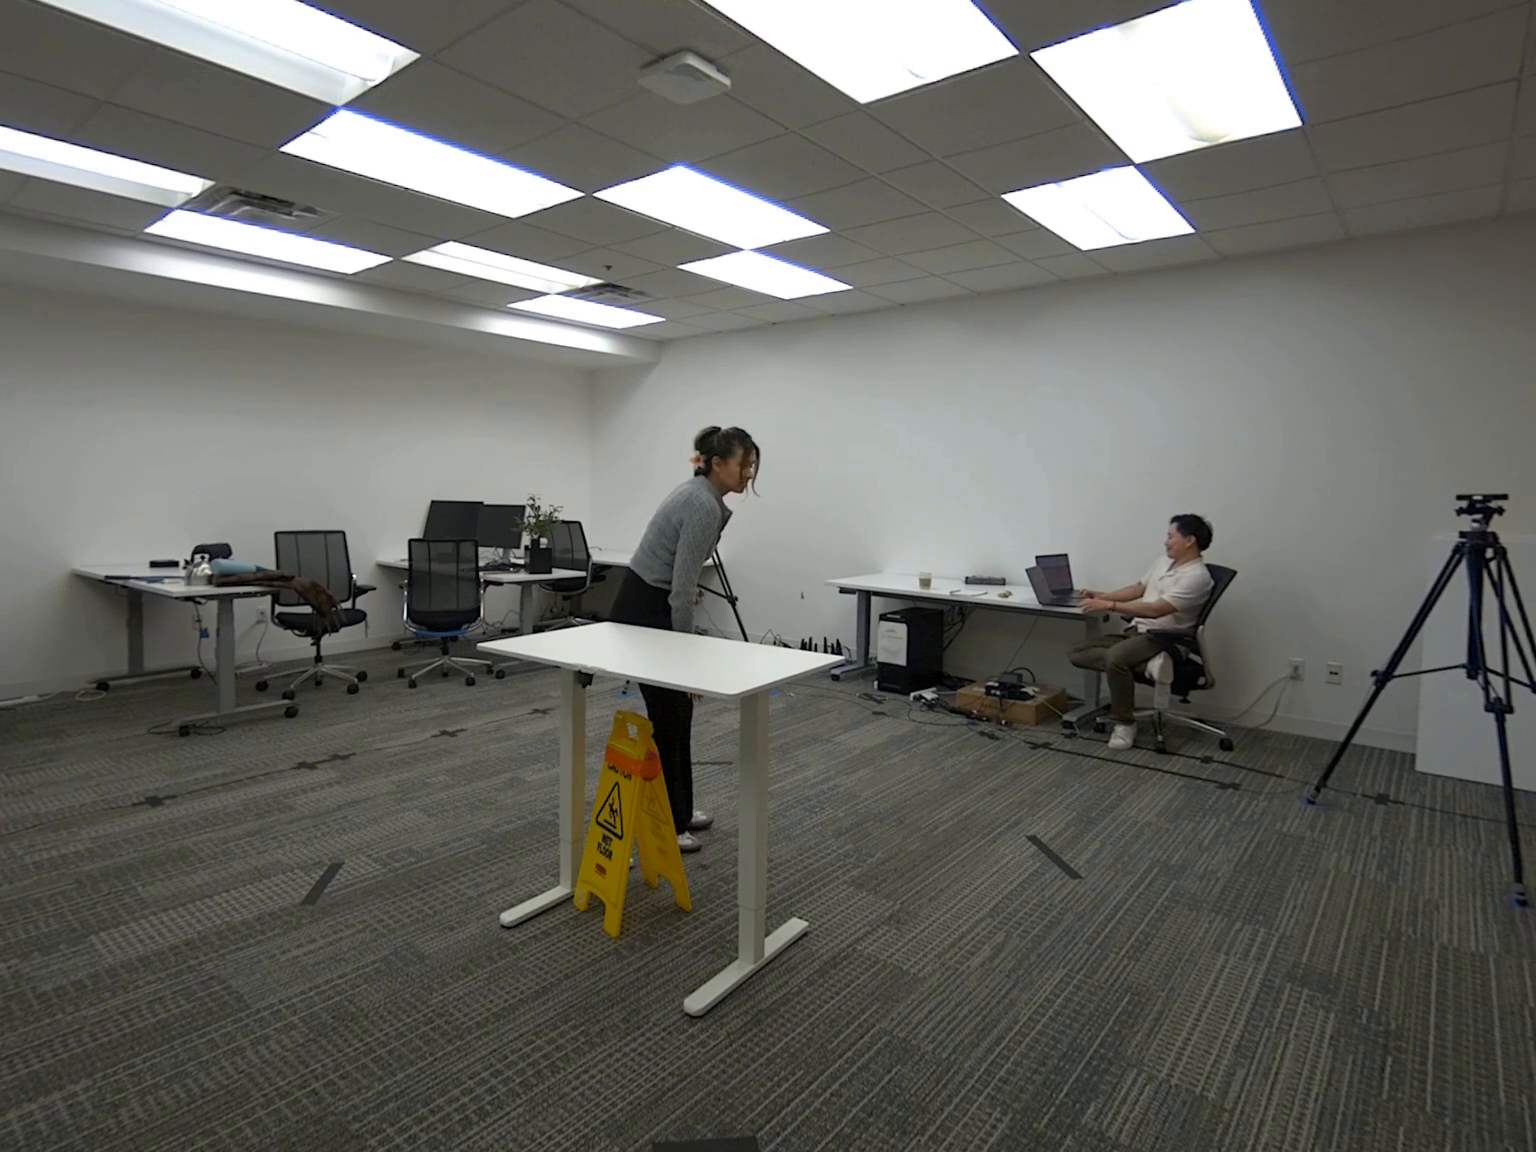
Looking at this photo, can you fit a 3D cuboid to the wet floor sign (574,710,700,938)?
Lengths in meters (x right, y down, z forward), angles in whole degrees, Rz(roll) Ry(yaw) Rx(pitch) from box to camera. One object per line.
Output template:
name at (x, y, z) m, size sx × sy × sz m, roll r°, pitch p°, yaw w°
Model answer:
wet floor sign at (-0.452, 0.770, 2.785) m, size 0.281 × 0.644 × 0.291 m, roll -3°, pitch 4°, yaw -39°
